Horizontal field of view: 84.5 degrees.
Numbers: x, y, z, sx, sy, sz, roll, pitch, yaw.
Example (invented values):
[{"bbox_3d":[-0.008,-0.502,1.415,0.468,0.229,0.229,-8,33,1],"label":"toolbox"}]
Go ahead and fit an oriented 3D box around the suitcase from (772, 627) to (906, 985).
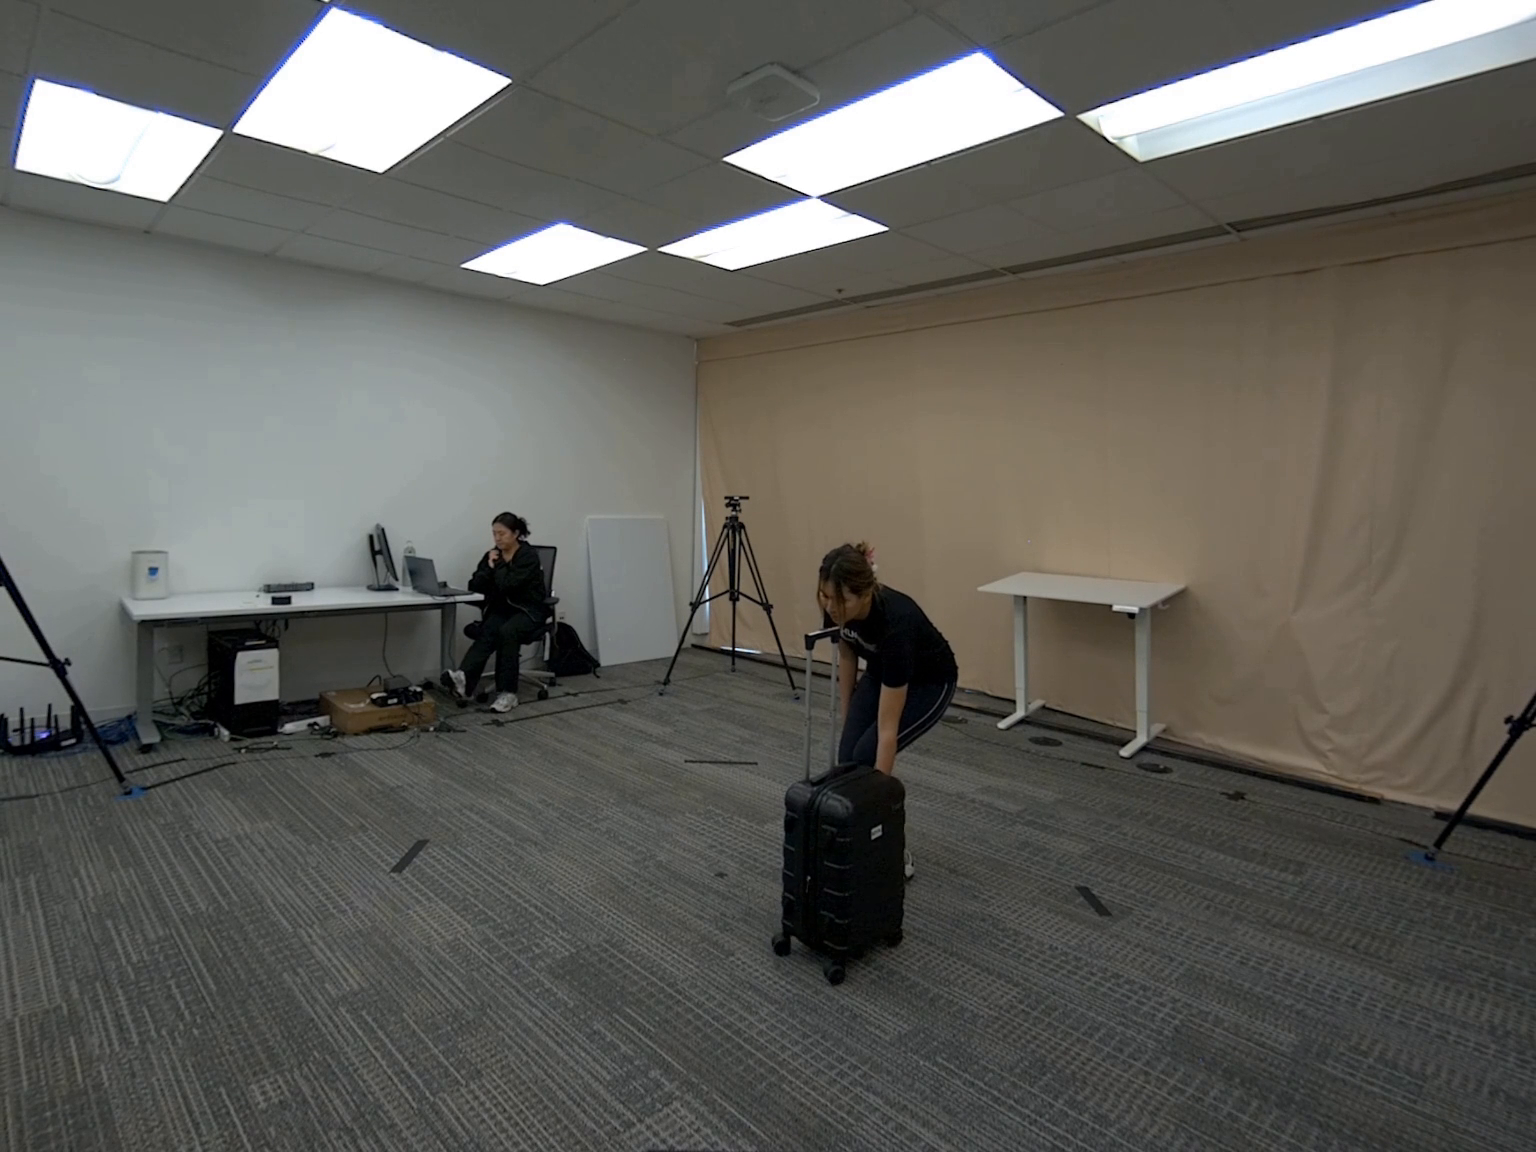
[{"bbox_3d":[0.244,0.681,2.570,0.264,0.975,0.375,8,8,42],"label":"suitcase"}]
